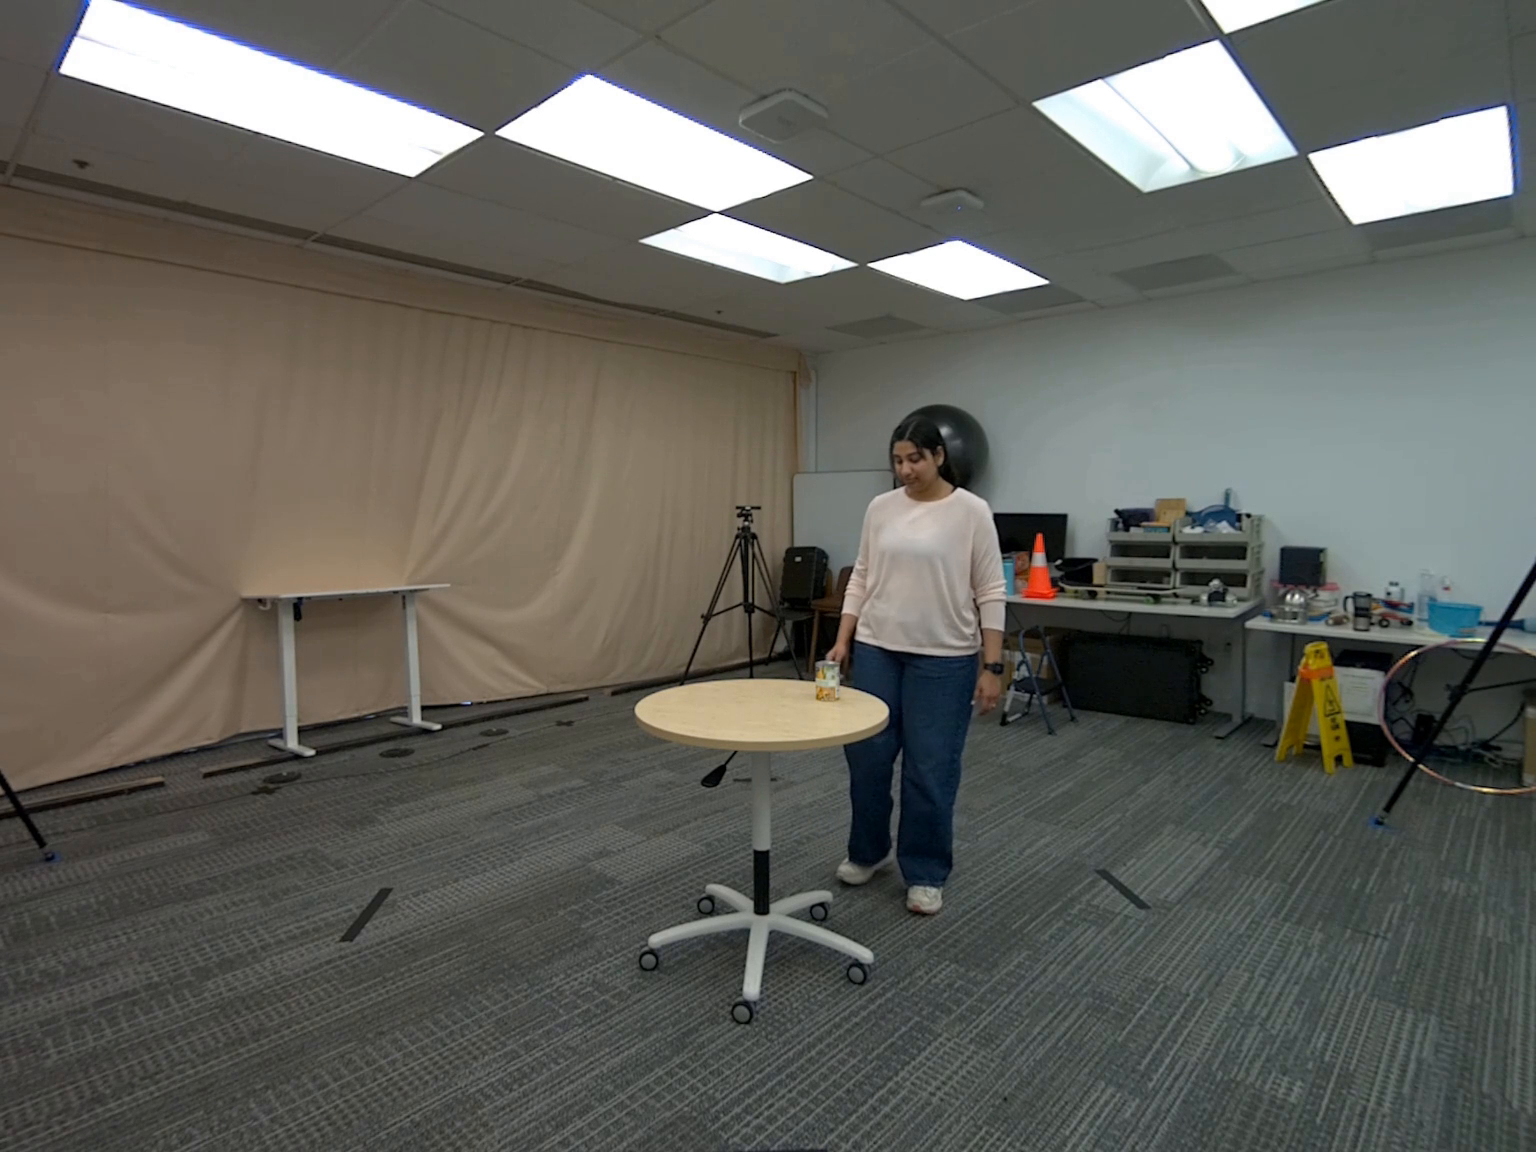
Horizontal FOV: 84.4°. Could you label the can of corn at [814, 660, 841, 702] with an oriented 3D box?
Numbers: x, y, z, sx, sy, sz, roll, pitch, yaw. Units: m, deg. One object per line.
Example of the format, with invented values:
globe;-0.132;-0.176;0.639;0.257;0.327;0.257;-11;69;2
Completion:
can of corn;0.192;0.331;2.639;0.074;0.111;0.074;2;3;-2
